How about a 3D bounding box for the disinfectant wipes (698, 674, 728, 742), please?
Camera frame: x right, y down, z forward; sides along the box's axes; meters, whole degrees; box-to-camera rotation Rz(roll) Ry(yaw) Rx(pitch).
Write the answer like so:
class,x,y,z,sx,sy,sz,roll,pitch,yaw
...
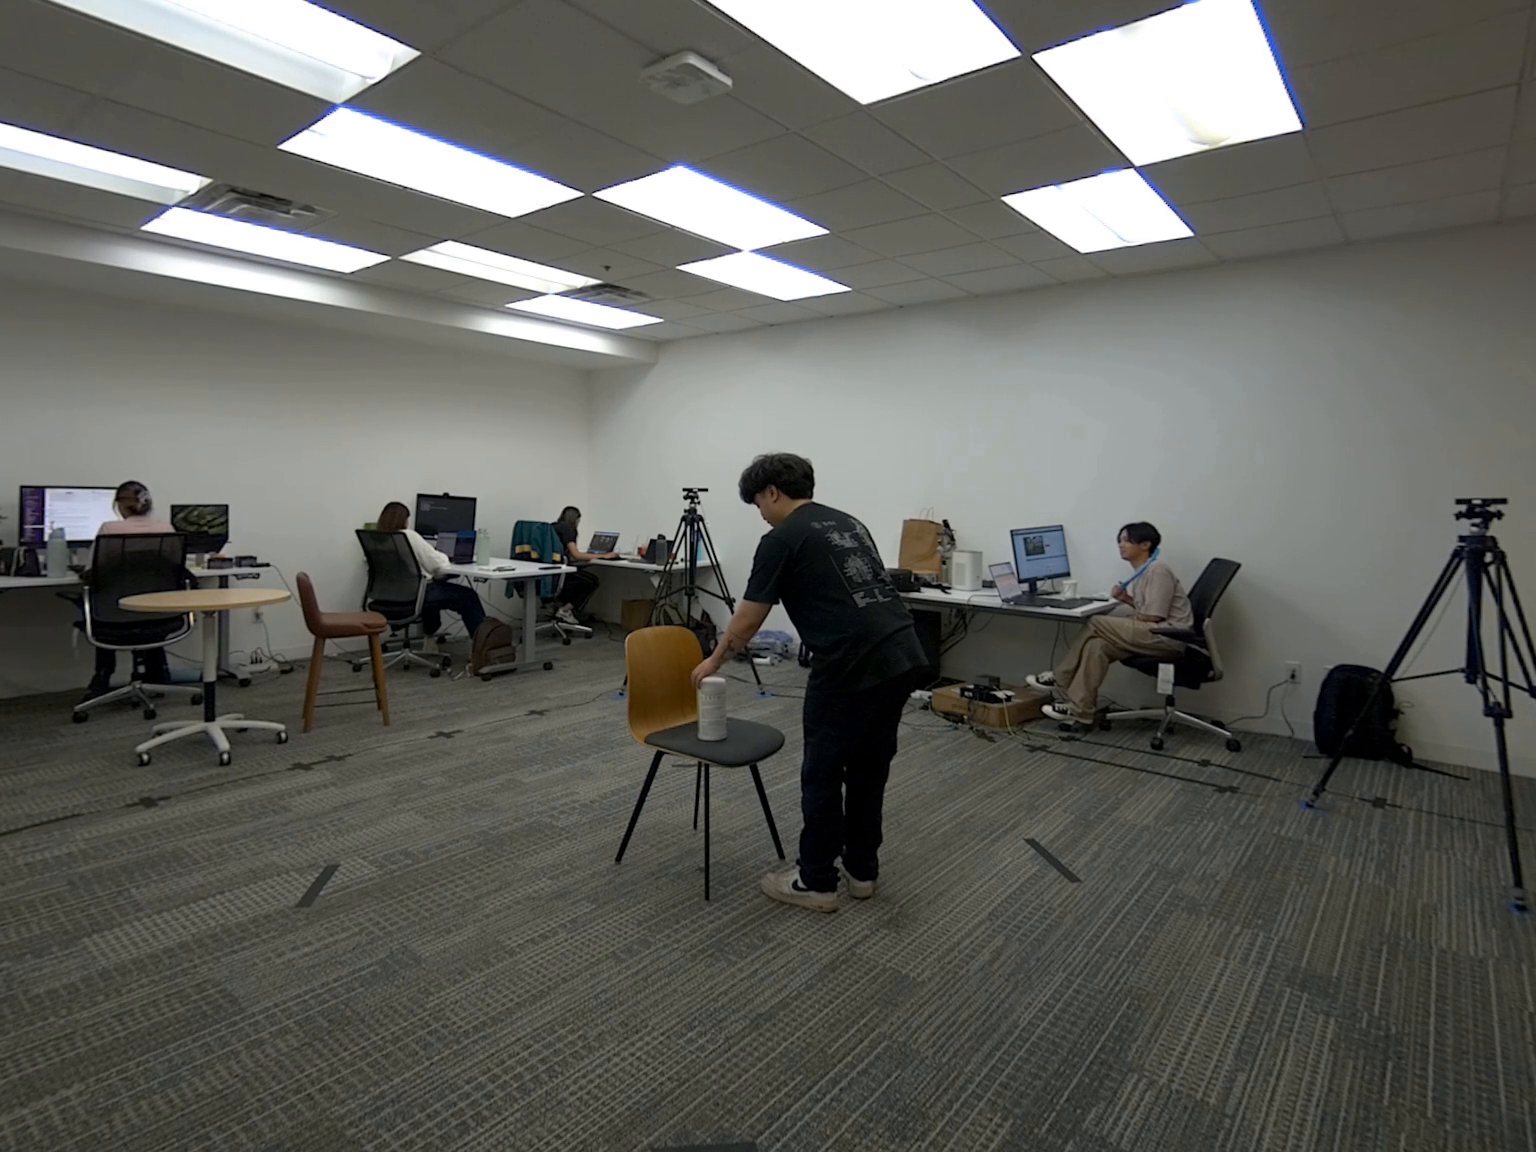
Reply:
class,x,y,z,sx,sy,sz,roll,pitch,yaw
disinfectant wipes,-0.218,0.490,3.131,0.118,0.217,0.118,1,0,-2
